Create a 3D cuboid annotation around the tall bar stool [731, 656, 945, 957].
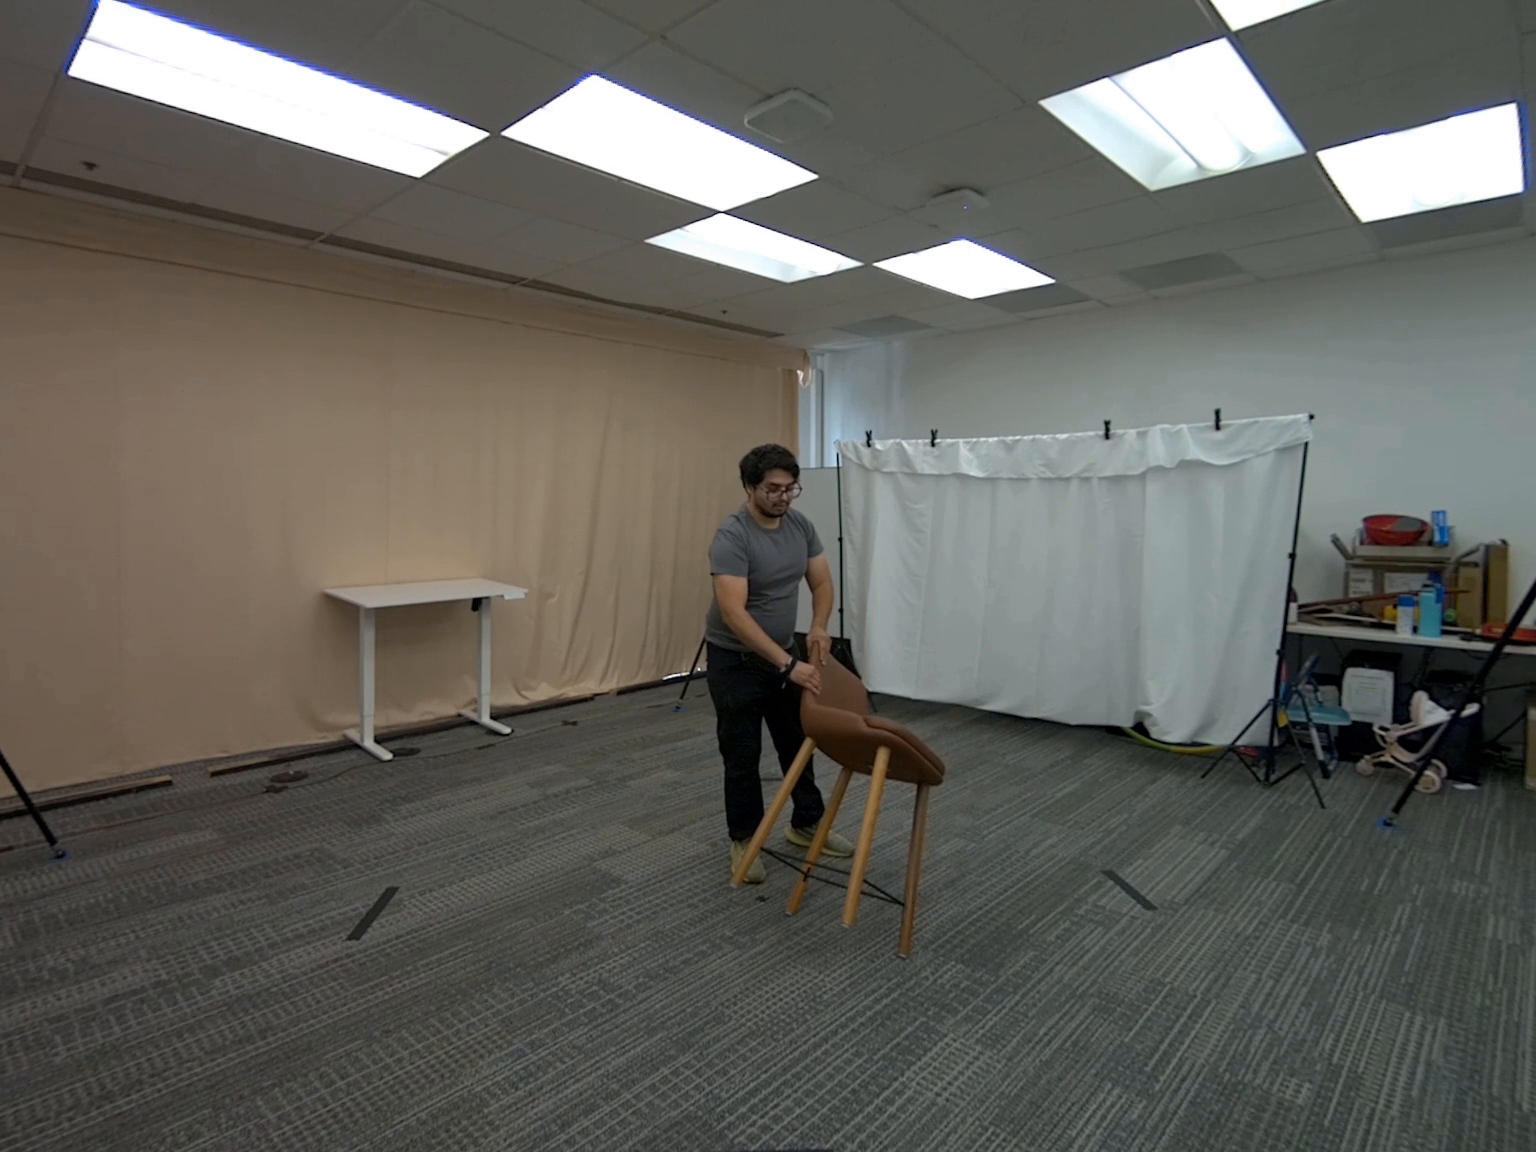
[{"bbox_3d":[0.294,0.695,2.782,0.482,0.894,0.440,-3,-32,38],"label":"tall bar stool"}]
